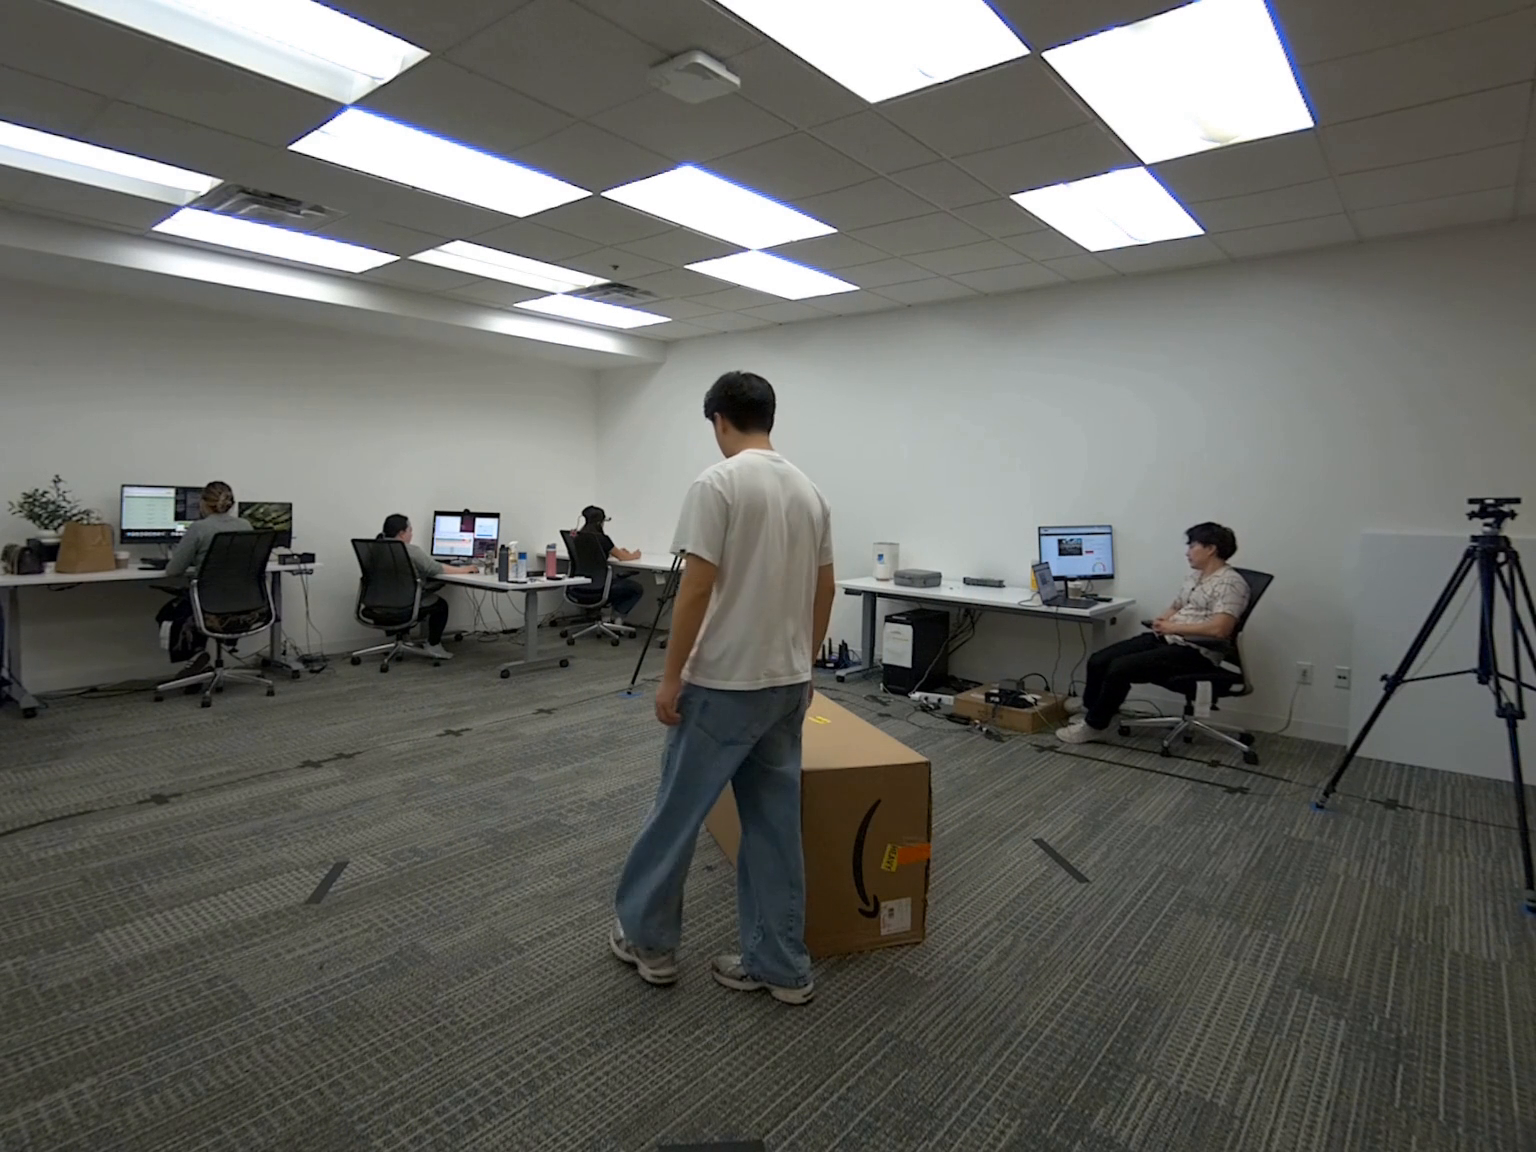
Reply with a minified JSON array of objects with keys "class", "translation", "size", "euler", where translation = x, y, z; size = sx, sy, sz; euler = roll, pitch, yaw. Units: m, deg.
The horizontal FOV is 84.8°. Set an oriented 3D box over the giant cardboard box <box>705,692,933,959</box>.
[{"class":"giant cardboard box","translation":[0.120,0.788,3.042],"size":[0.418,0.575,1.049],"euler":[-1,6,-19]}]
